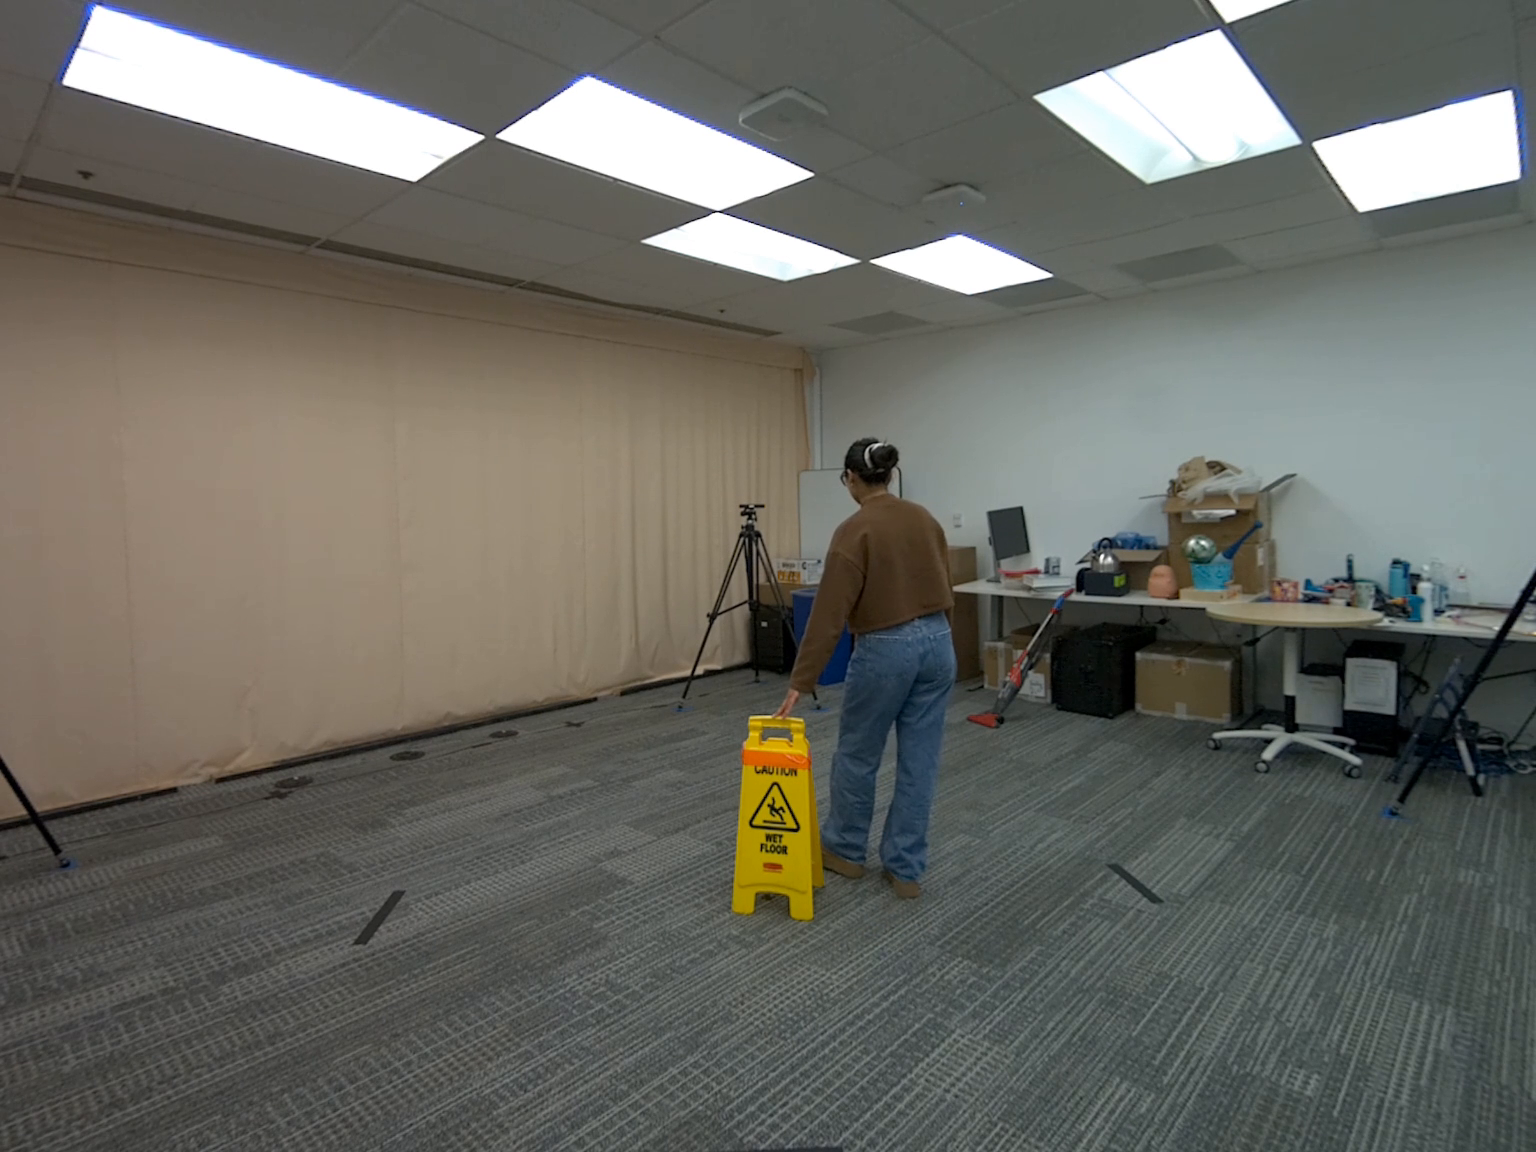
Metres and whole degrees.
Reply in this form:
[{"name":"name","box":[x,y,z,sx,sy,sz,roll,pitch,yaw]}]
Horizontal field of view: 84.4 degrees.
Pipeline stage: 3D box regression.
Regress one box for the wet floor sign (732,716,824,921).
[{"name":"wet floor sign","box":[0.044,0.817,2.966,0.287,0.645,0.286,1,3,14]}]
